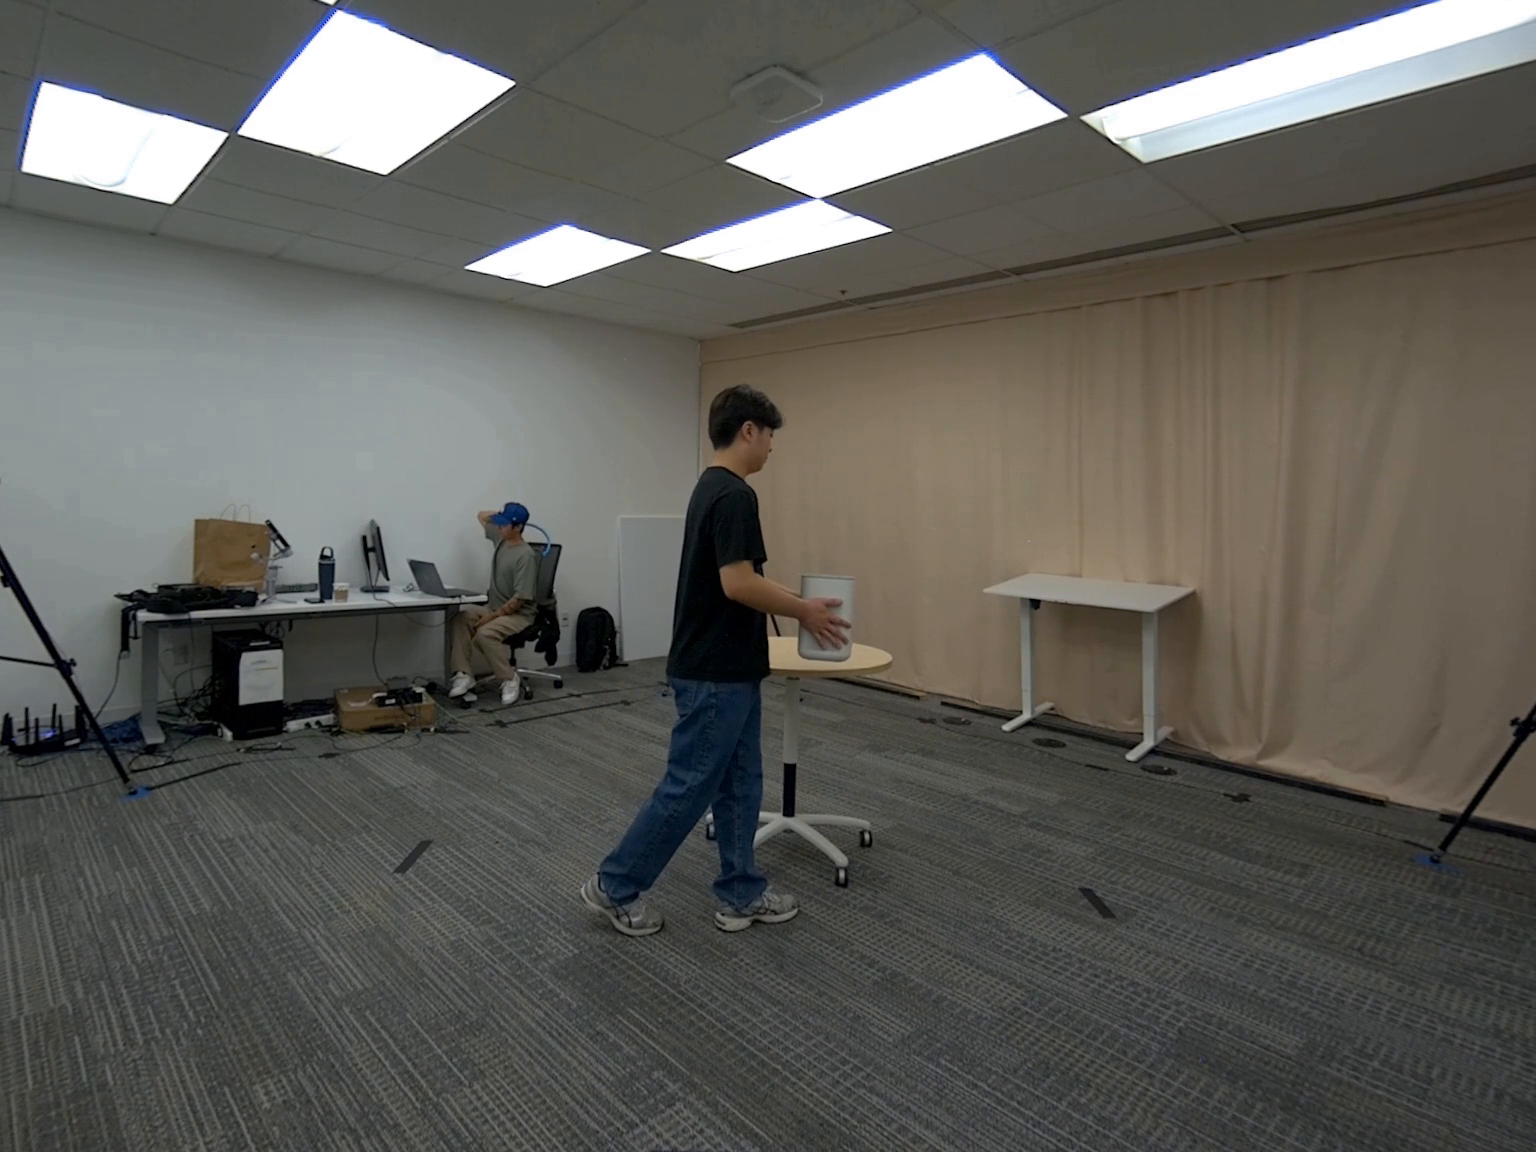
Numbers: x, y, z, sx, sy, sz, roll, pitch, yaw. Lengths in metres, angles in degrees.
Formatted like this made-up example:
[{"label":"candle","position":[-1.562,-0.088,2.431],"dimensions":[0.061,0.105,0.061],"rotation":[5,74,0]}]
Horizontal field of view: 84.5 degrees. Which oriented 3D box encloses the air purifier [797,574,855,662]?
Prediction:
[{"label":"air purifier","position":[0.173,0.130,2.685],"dimensions":[0.172,0.265,0.171],"rotation":[3,-1,1]}]
